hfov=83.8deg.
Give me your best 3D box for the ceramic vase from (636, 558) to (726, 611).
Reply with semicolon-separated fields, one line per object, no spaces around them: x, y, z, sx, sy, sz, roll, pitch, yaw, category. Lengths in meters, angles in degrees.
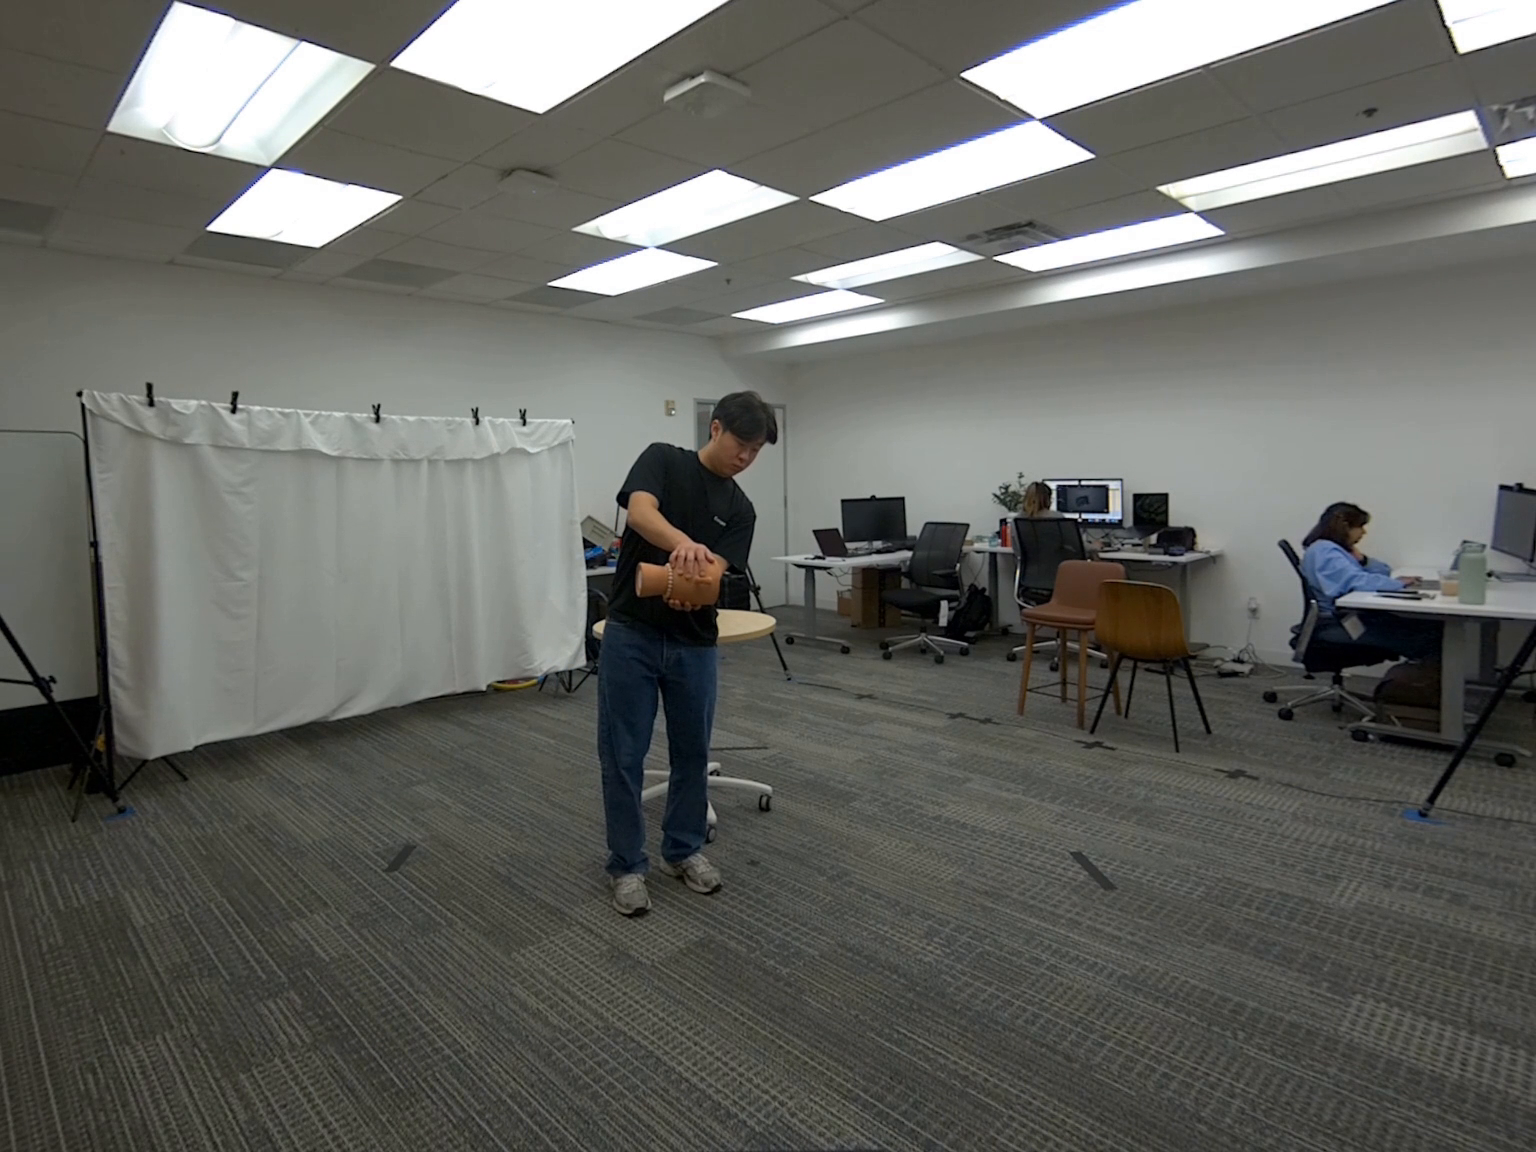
-0.243;0.015;2.450;0.216;0.139;0.156;1;-41;-15;ceramic vase
